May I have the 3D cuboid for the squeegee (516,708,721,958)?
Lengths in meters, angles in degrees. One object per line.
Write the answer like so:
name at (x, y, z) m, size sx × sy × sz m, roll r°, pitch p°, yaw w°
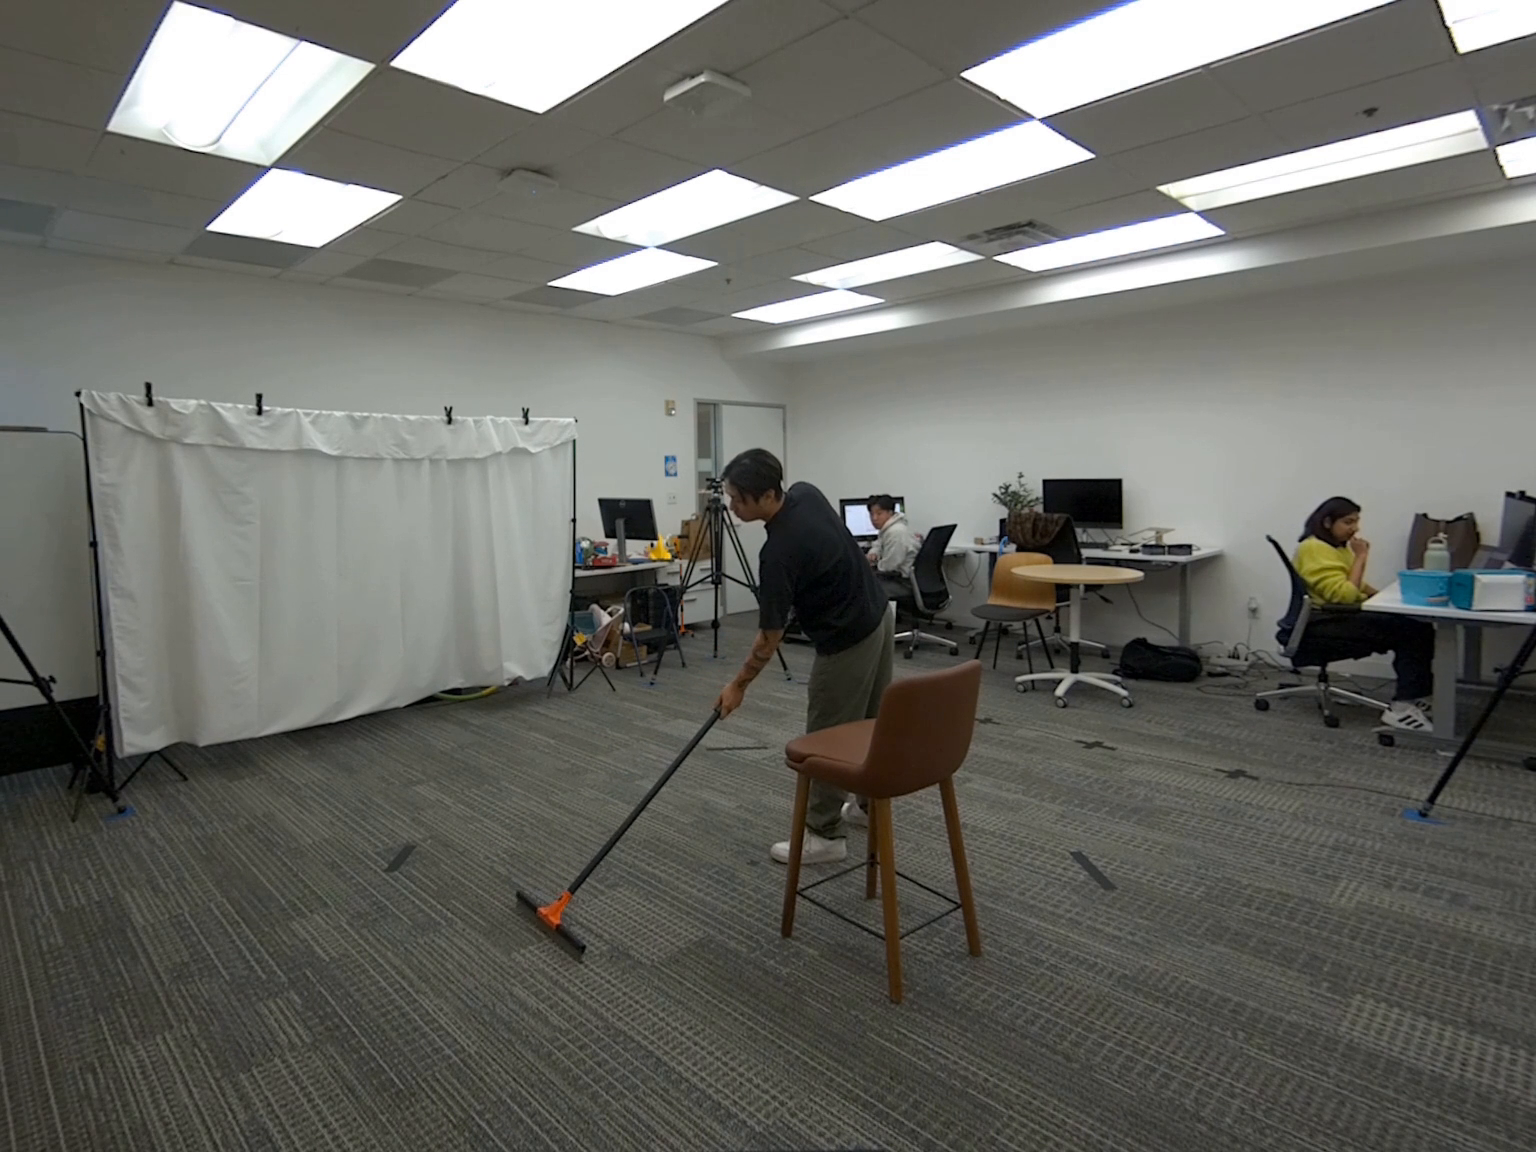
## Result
squeegee at (-0.253, 0.551, 3.000) m, size 0.450 × 0.051 × 1.539 m, roll 3°, pitch 44°, yaw 48°
